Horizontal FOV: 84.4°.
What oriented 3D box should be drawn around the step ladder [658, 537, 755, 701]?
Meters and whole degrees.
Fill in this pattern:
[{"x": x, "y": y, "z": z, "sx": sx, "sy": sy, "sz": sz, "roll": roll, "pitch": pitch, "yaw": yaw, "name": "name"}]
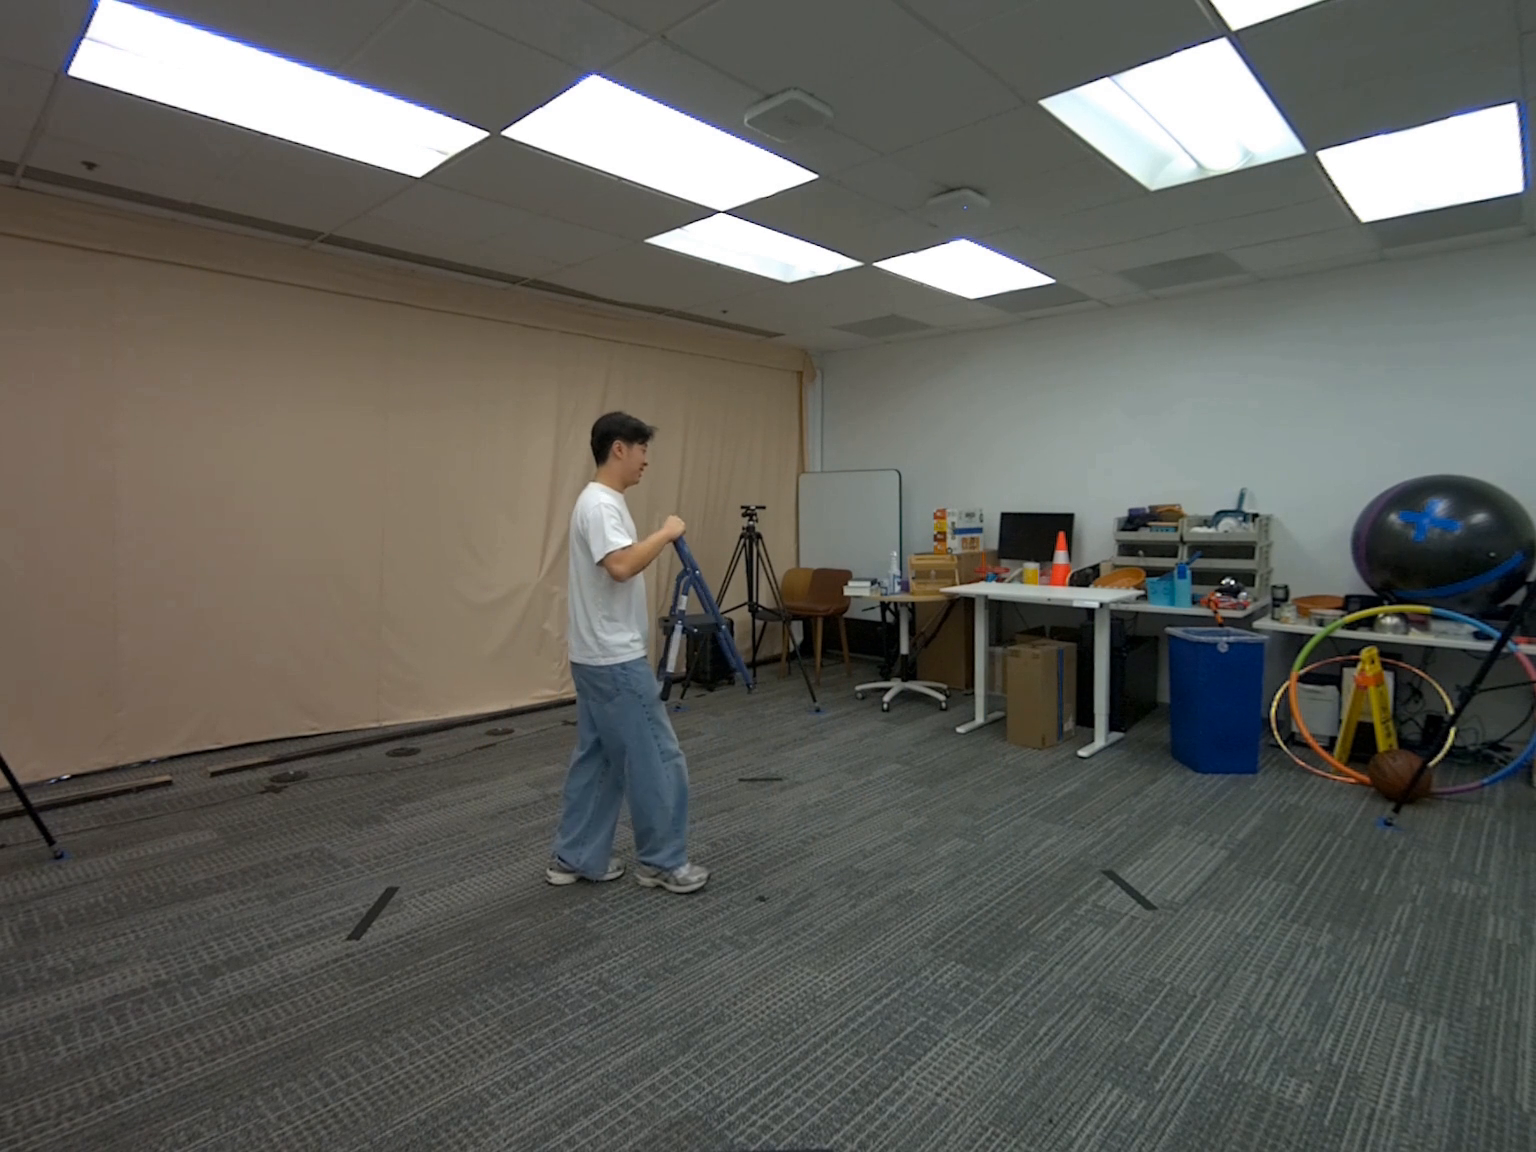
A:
[{"x": -0.263, "y": 0.133, "z": 3.171, "sx": 0.346, "sy": 0.607, "sz": 0.433, "roll": -5, "pitch": -2, "yaw": -9, "name": "step ladder"}]
